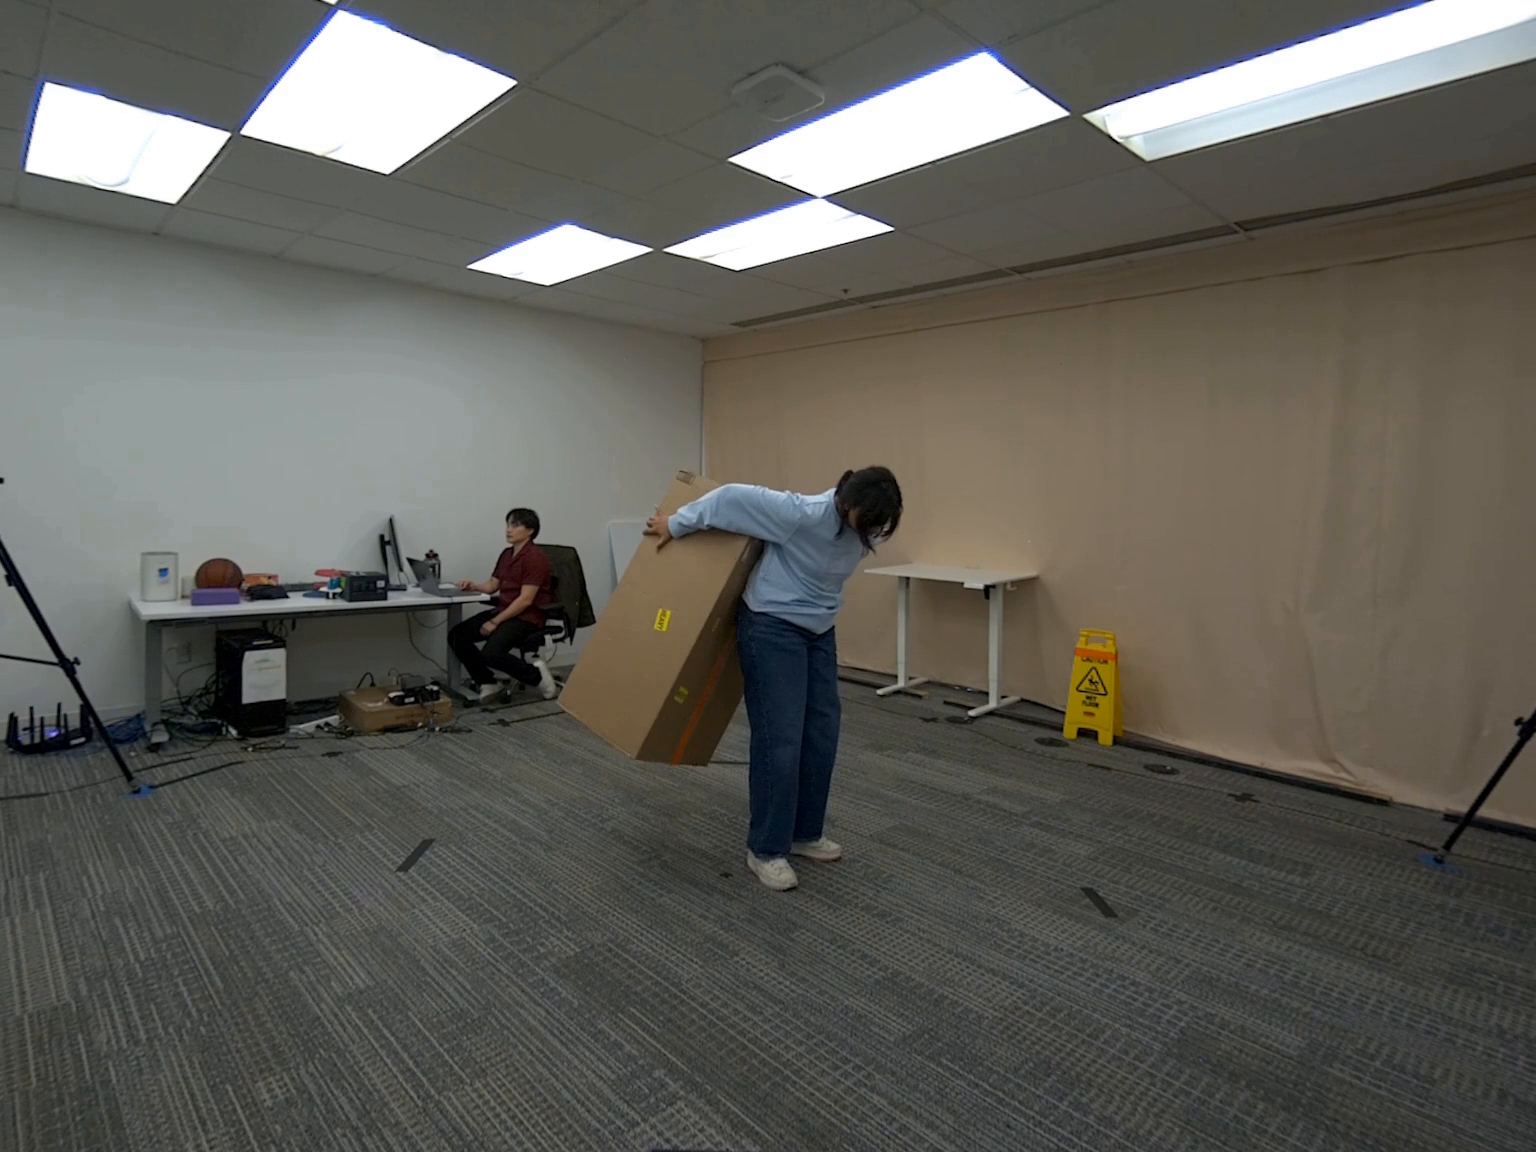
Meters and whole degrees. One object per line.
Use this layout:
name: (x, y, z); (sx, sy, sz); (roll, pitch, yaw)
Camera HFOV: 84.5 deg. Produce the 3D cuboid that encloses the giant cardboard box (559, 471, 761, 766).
giant cardboard box: (-0.313, 0.190, 3.340); (0.437, 1.027, 0.562); (25, -4, 28)
